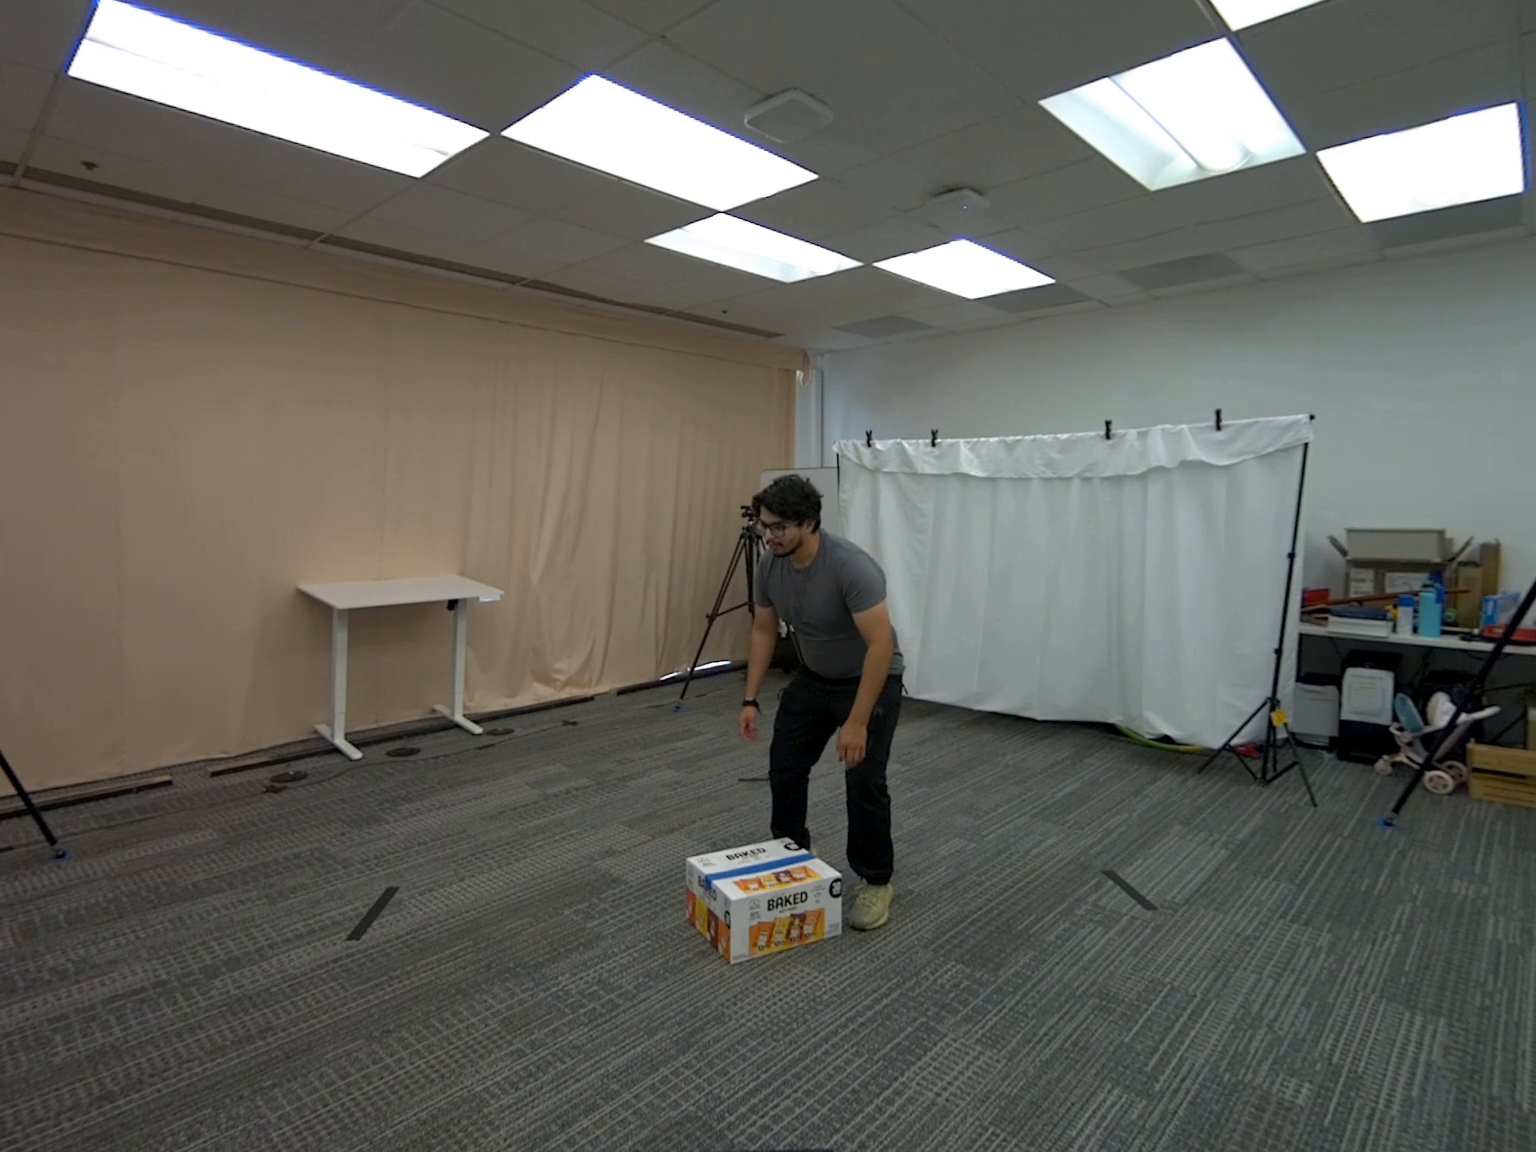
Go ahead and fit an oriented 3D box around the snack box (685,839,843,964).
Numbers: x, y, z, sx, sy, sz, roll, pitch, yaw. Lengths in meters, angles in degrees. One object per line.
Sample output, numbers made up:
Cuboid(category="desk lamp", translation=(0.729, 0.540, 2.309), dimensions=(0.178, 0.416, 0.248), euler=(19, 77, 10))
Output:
Cuboid(category="snack box", translation=(-0.018, 1.062, 2.776), dimensions=(0.395, 0.205, 0.350), euler=(-3, 5, -28))
